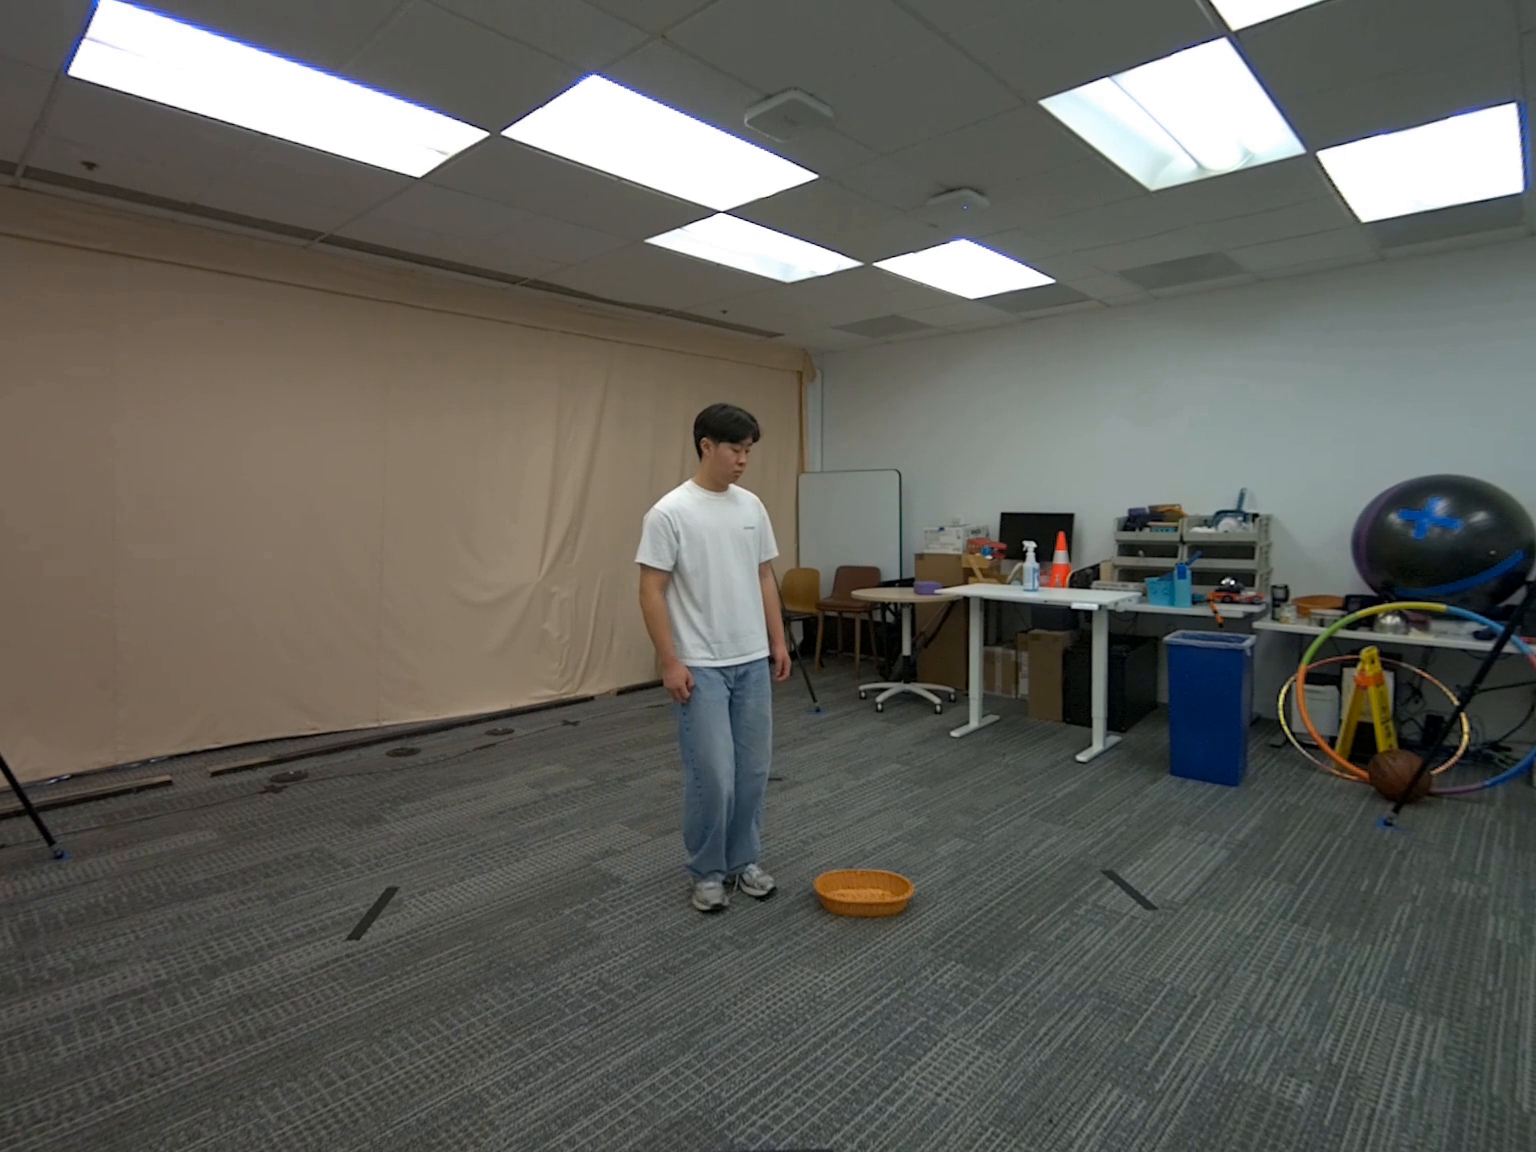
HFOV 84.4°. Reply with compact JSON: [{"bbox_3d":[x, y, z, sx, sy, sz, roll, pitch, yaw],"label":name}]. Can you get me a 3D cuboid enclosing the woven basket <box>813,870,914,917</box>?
[{"bbox_3d":[0.337,1.110,2.926,0.351,0.073,0.252,-1,5,2],"label":"woven basket"}]
